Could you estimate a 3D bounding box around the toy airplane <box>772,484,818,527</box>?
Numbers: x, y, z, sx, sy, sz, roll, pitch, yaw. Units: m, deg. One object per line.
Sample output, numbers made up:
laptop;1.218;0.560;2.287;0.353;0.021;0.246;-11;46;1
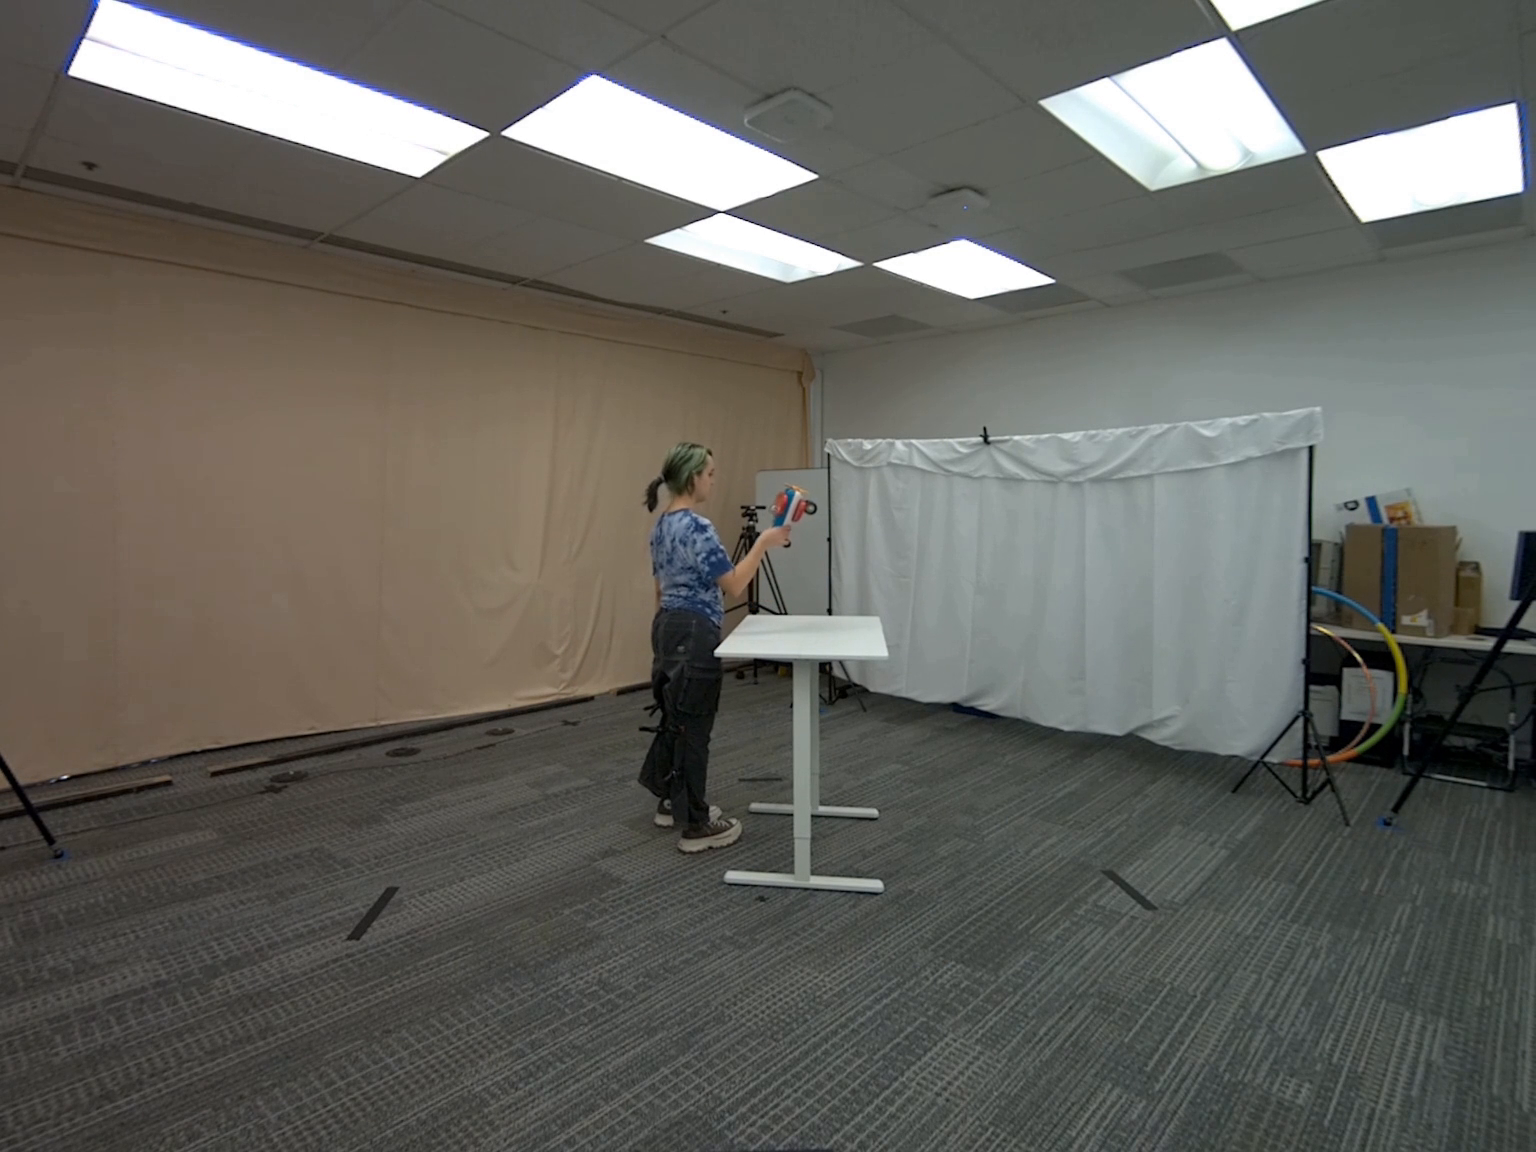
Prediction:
toy airplane;0.083;-0.243;3.455;0.155;0.259;0.253;35;-22;-7
